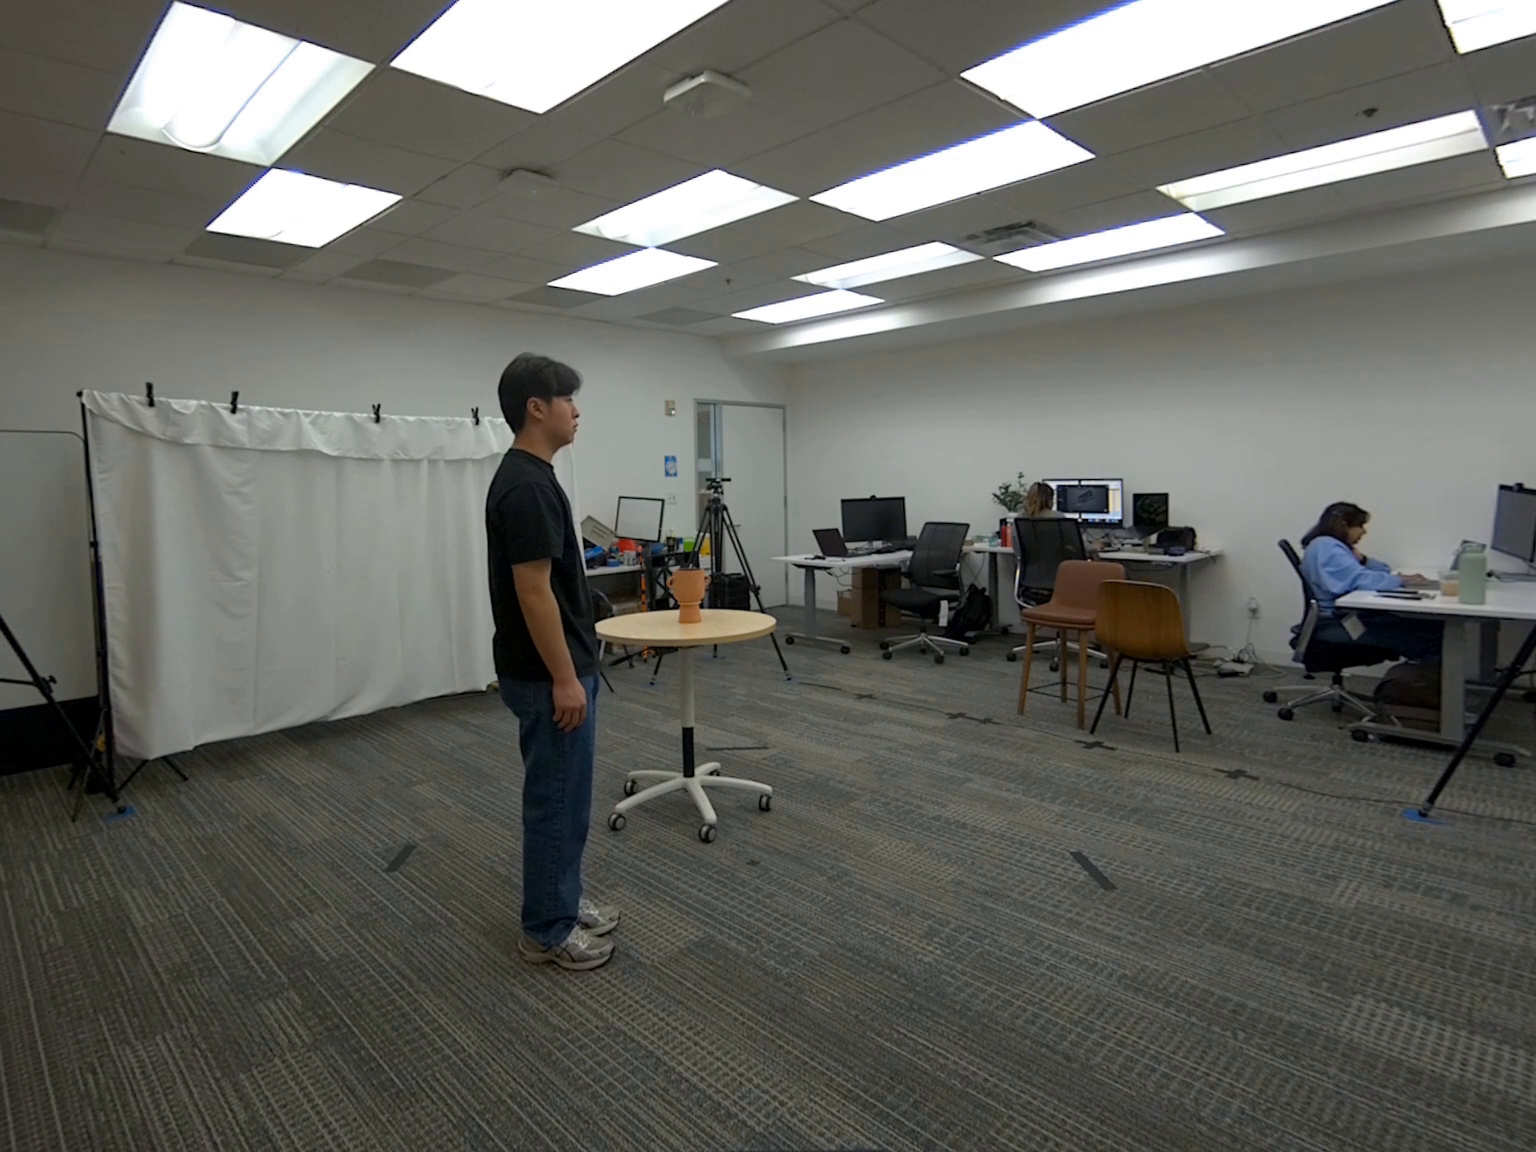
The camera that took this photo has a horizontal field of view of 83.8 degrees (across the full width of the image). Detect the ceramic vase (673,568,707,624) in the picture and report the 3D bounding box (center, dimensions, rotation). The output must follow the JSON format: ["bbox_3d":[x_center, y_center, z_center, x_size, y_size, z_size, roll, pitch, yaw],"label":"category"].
[{"bbox_3d":[-0.336,0.086,3.615,0.161,0.219,0.133,-1,4,13],"label":"ceramic vase"}]
